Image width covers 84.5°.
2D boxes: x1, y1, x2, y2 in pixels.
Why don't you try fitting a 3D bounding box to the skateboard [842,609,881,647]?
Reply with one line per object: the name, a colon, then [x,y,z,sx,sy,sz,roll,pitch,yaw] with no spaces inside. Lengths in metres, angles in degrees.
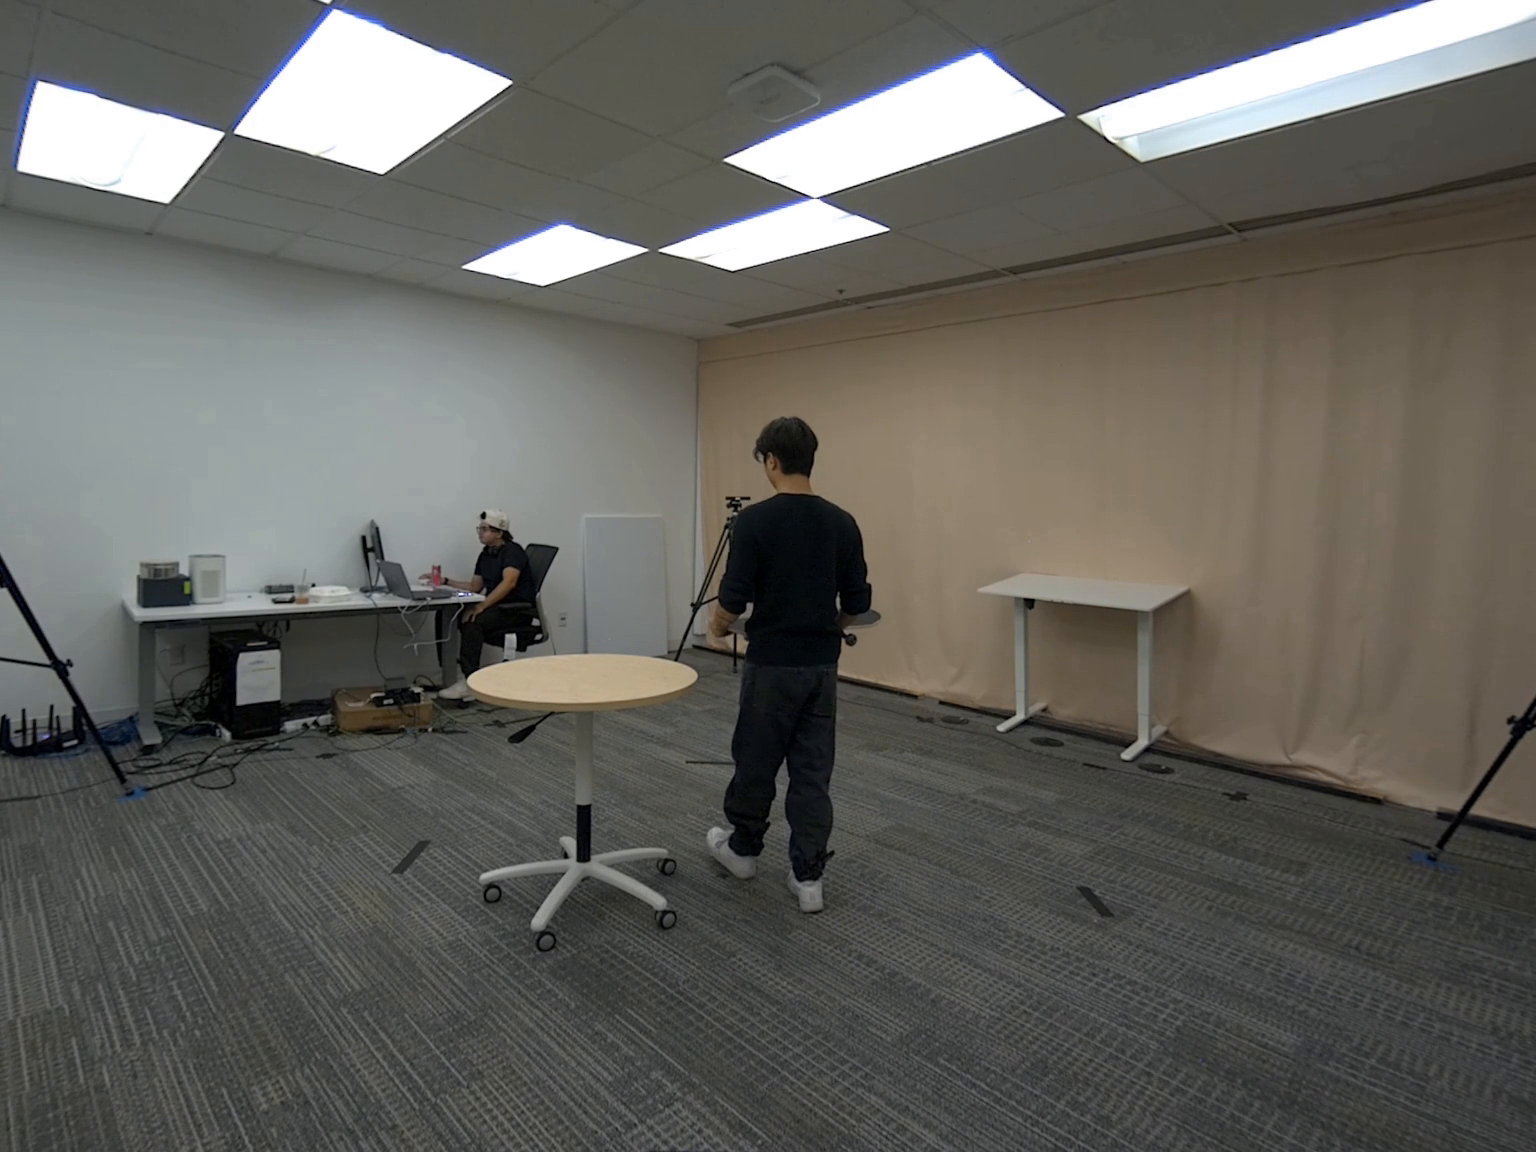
skateboard: [0.144,0.222,3.296,0.768,0.109,0.199,-1,16,-35]
